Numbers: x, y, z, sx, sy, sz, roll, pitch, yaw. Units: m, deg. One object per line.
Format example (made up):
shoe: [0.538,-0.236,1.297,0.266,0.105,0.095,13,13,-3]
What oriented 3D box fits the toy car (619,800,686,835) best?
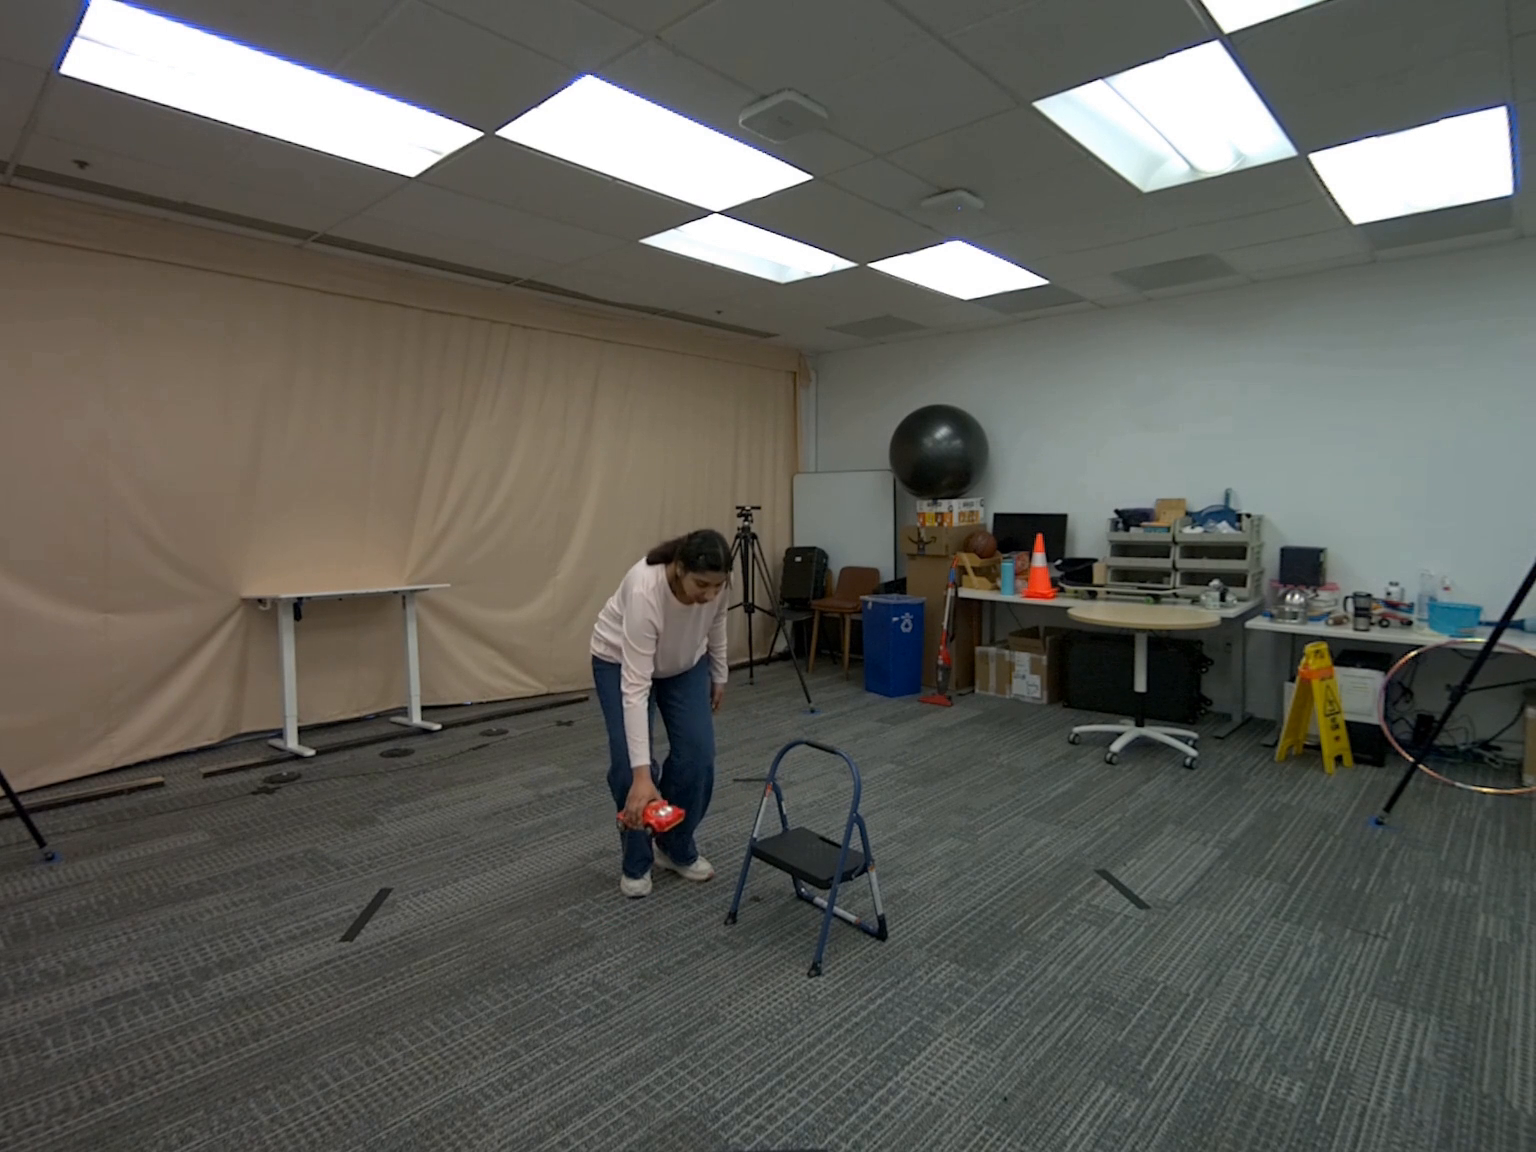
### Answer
toy car: [-0.358,0.746,2.603,0.127,0.083,0.260,-20,0,-45]
